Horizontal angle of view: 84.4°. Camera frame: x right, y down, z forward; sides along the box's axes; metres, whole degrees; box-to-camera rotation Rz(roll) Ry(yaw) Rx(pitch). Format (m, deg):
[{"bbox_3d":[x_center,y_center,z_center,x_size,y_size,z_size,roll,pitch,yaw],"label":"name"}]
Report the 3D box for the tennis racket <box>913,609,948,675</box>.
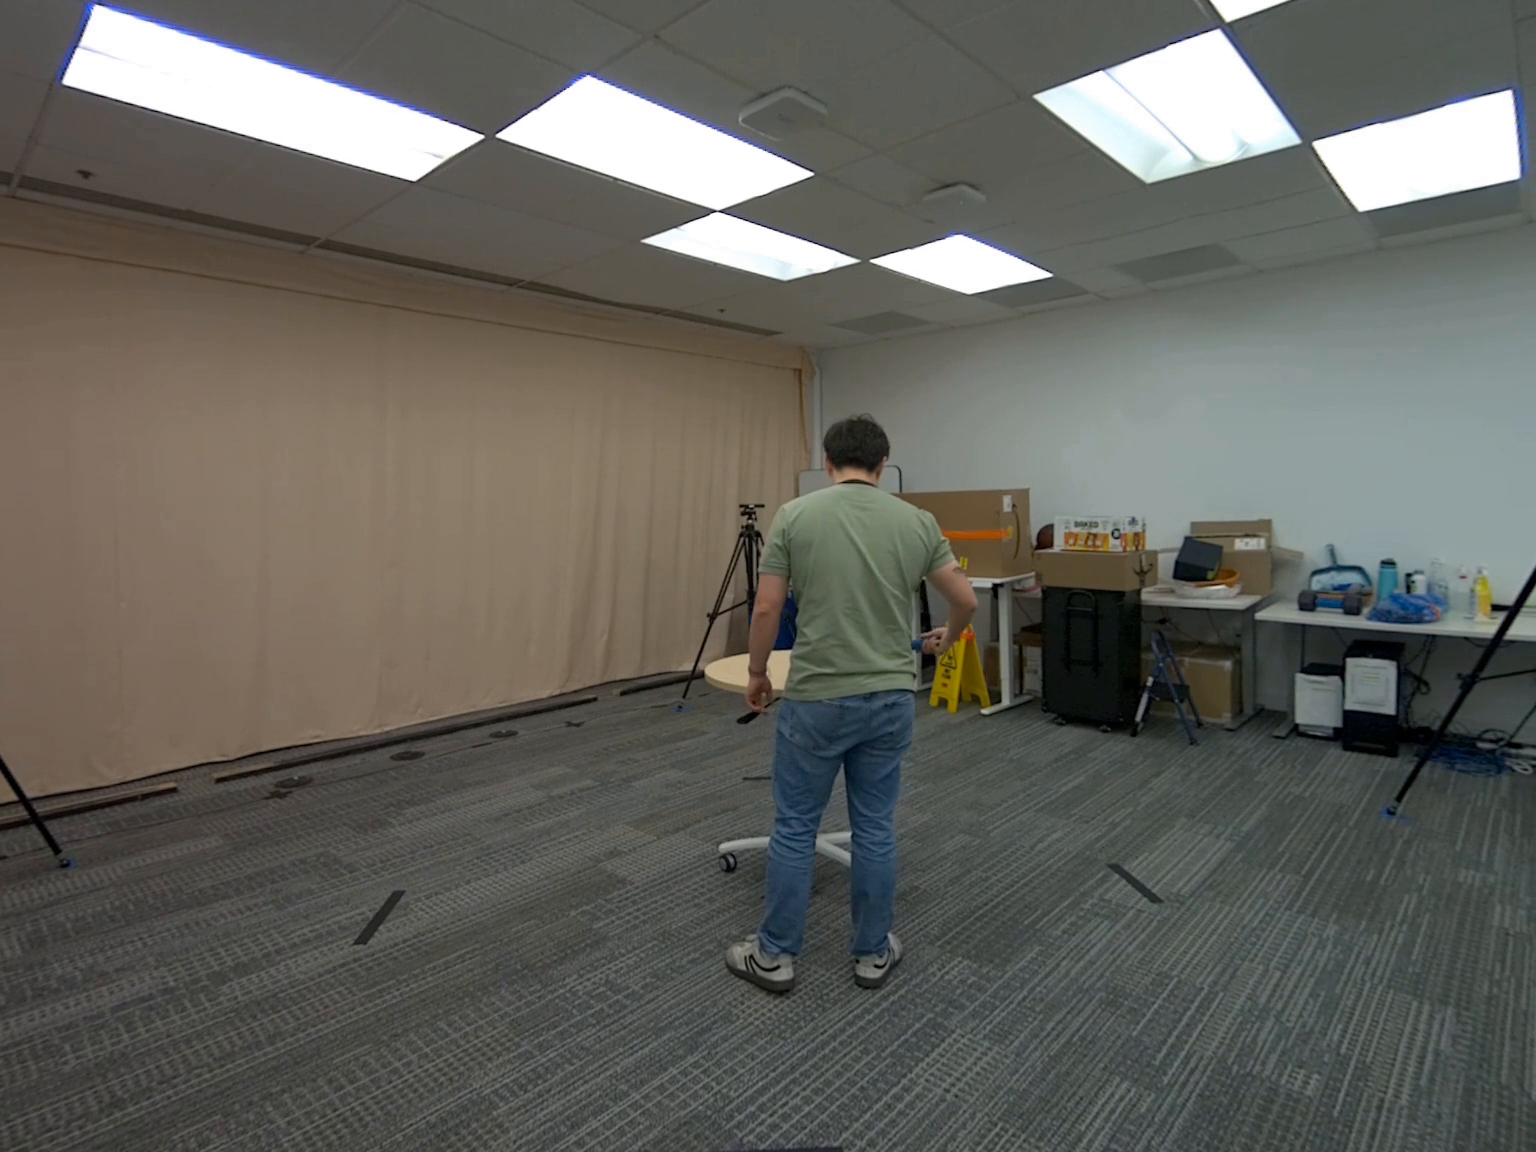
[{"bbox_3d":[0.425,0.247,2.876,0.031,0.214,0.443,39,-33,-26],"label":"tennis racket"}]
